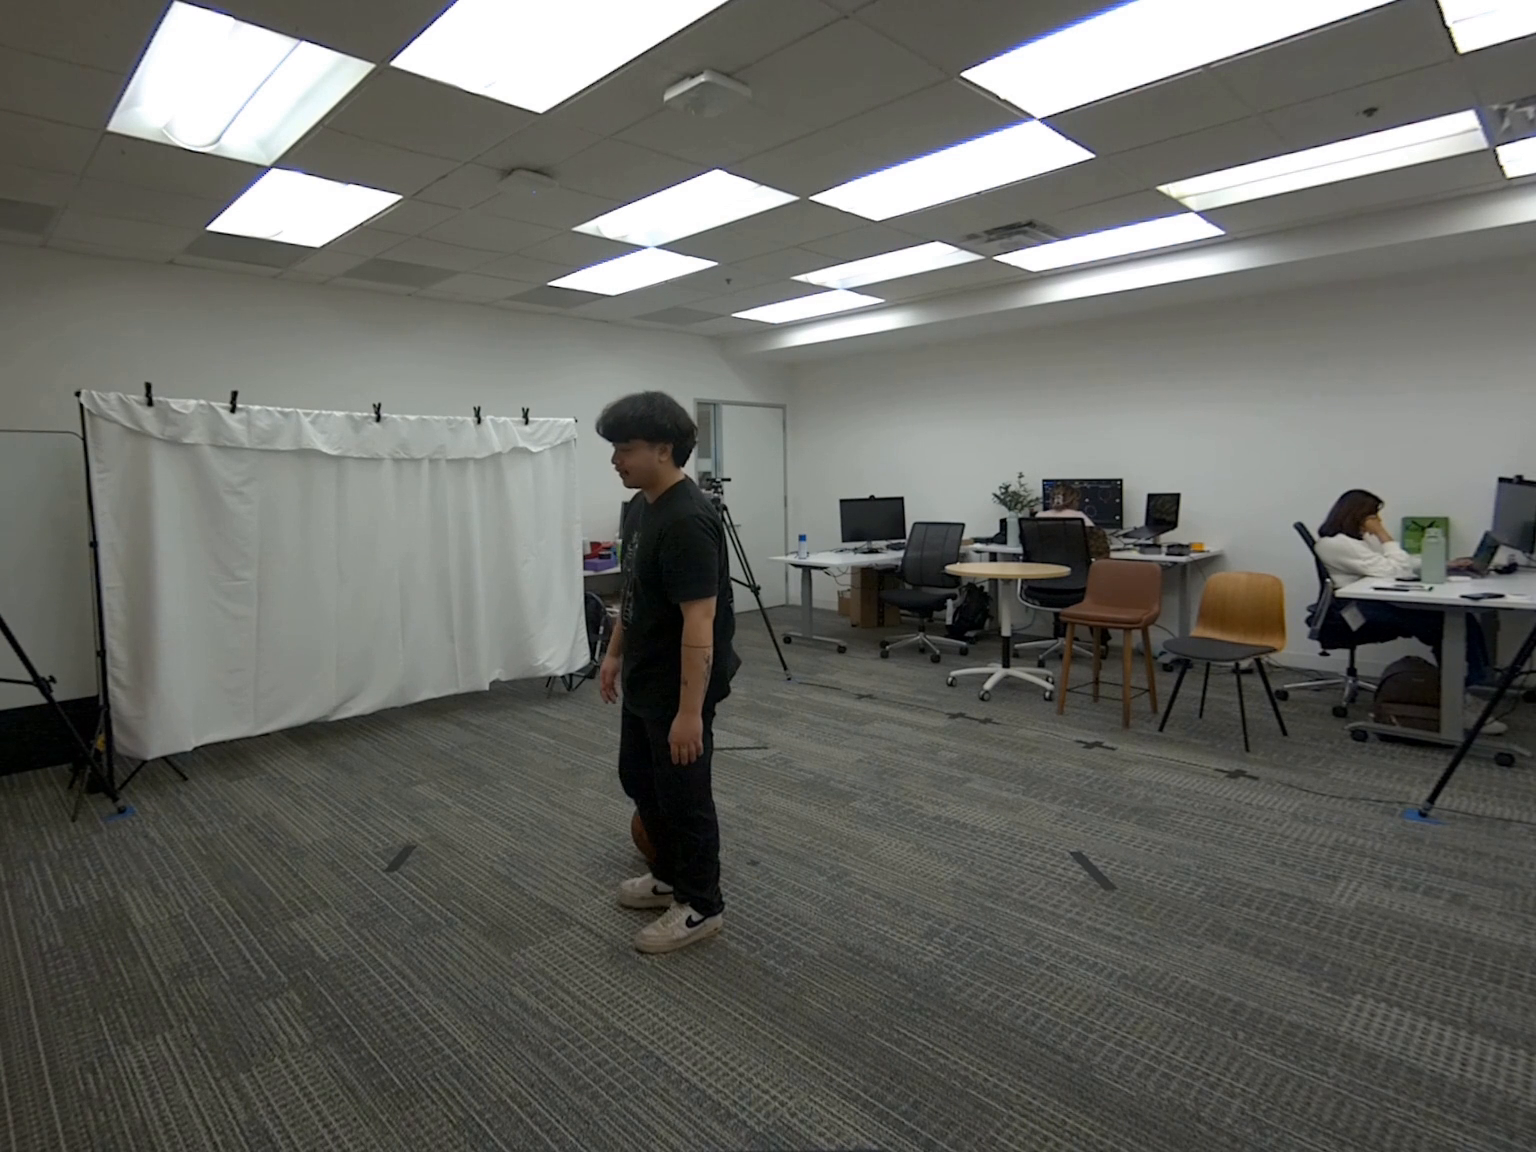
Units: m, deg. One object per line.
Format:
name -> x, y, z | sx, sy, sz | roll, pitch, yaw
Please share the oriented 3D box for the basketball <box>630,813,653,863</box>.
basketball -> -0.379, 0.922, 3.151 | 0.236, 0.235, 0.237 | -1, 5, -2
